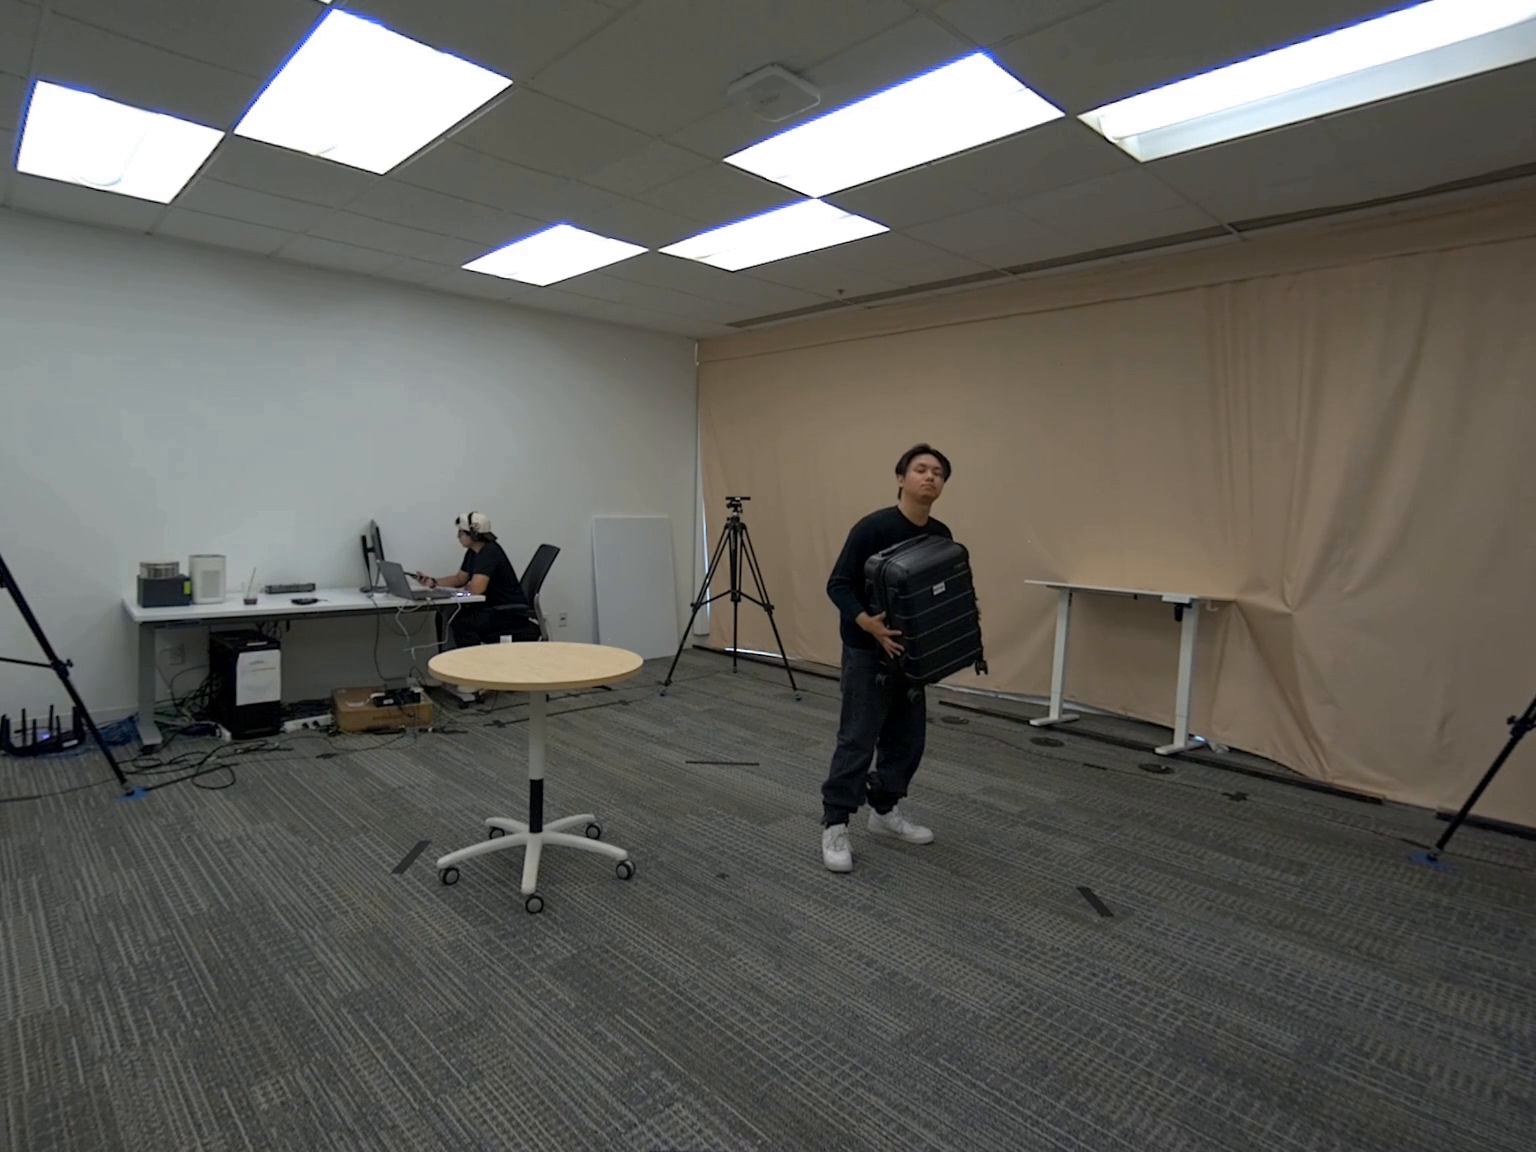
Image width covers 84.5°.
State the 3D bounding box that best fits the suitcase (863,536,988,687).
[{"bbox_3d":[0.582,0.140,3.173,0.371,0.542,0.255,-19,18,-25],"label":"suitcase"}]
